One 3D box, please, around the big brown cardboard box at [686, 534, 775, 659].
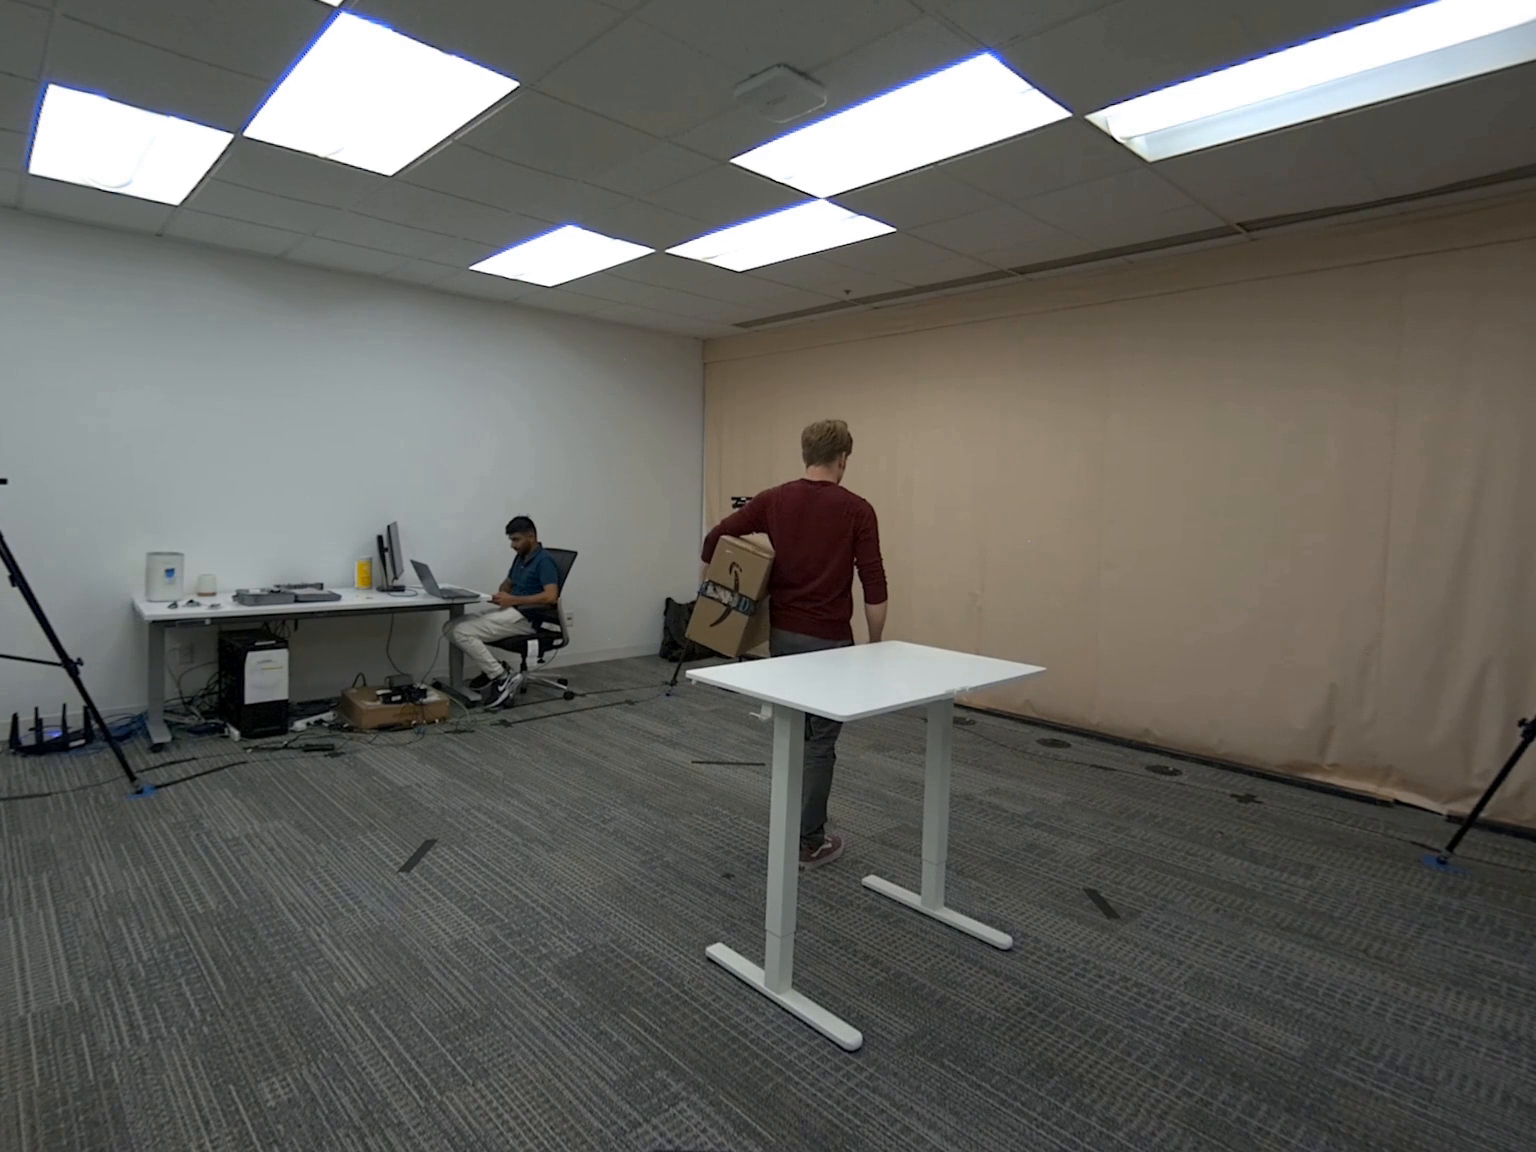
[{"bbox_3d":[-0.087,0.066,3.445,0.237,0.416,0.582,22,8,14],"label":"big brown cardboard box"}]
